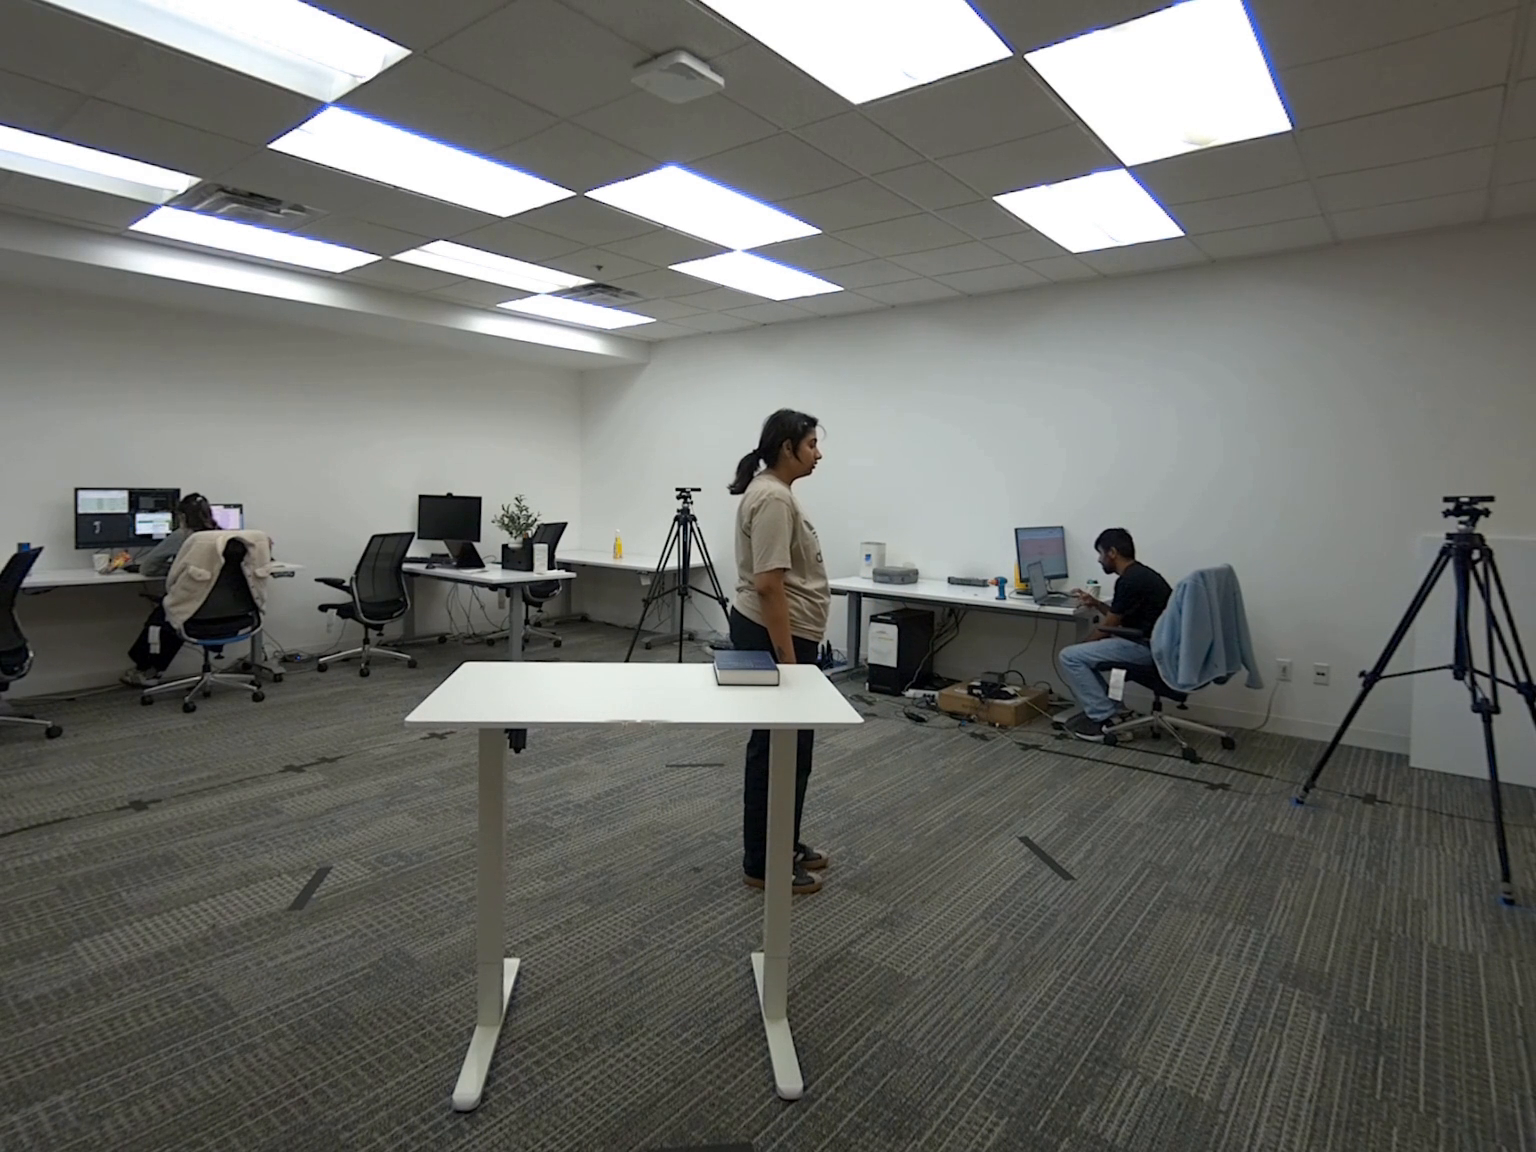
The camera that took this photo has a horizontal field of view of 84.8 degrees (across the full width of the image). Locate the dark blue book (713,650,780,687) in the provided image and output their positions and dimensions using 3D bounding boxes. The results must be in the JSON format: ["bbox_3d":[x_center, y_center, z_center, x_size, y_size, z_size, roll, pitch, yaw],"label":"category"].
[{"bbox_3d":[-0.061,0.248,2.310,0.163,0.045,0.247,0,7,-5],"label":"dark blue book"}]
